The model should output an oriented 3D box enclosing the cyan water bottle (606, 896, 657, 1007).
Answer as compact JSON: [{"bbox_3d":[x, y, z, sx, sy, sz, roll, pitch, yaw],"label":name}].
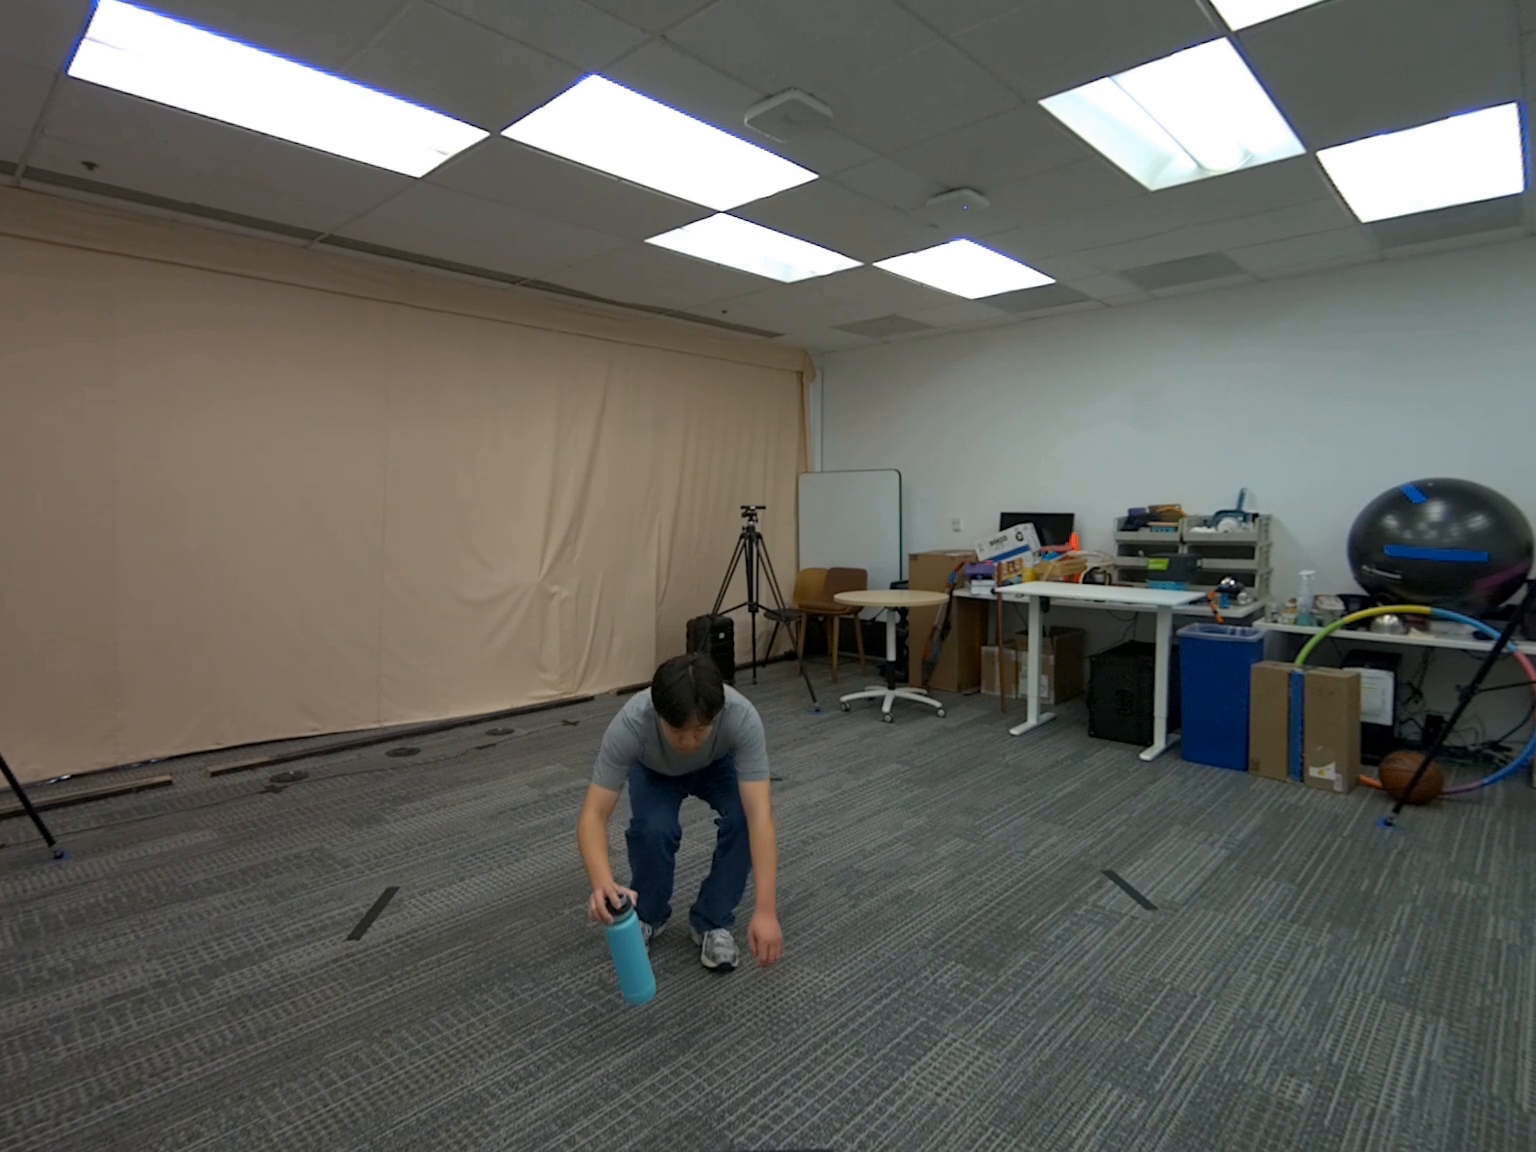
[{"bbox_3d":[-0.362,0.924,2.153,0.092,0.281,0.093,-12,10,1],"label":"cyan water bottle"}]
